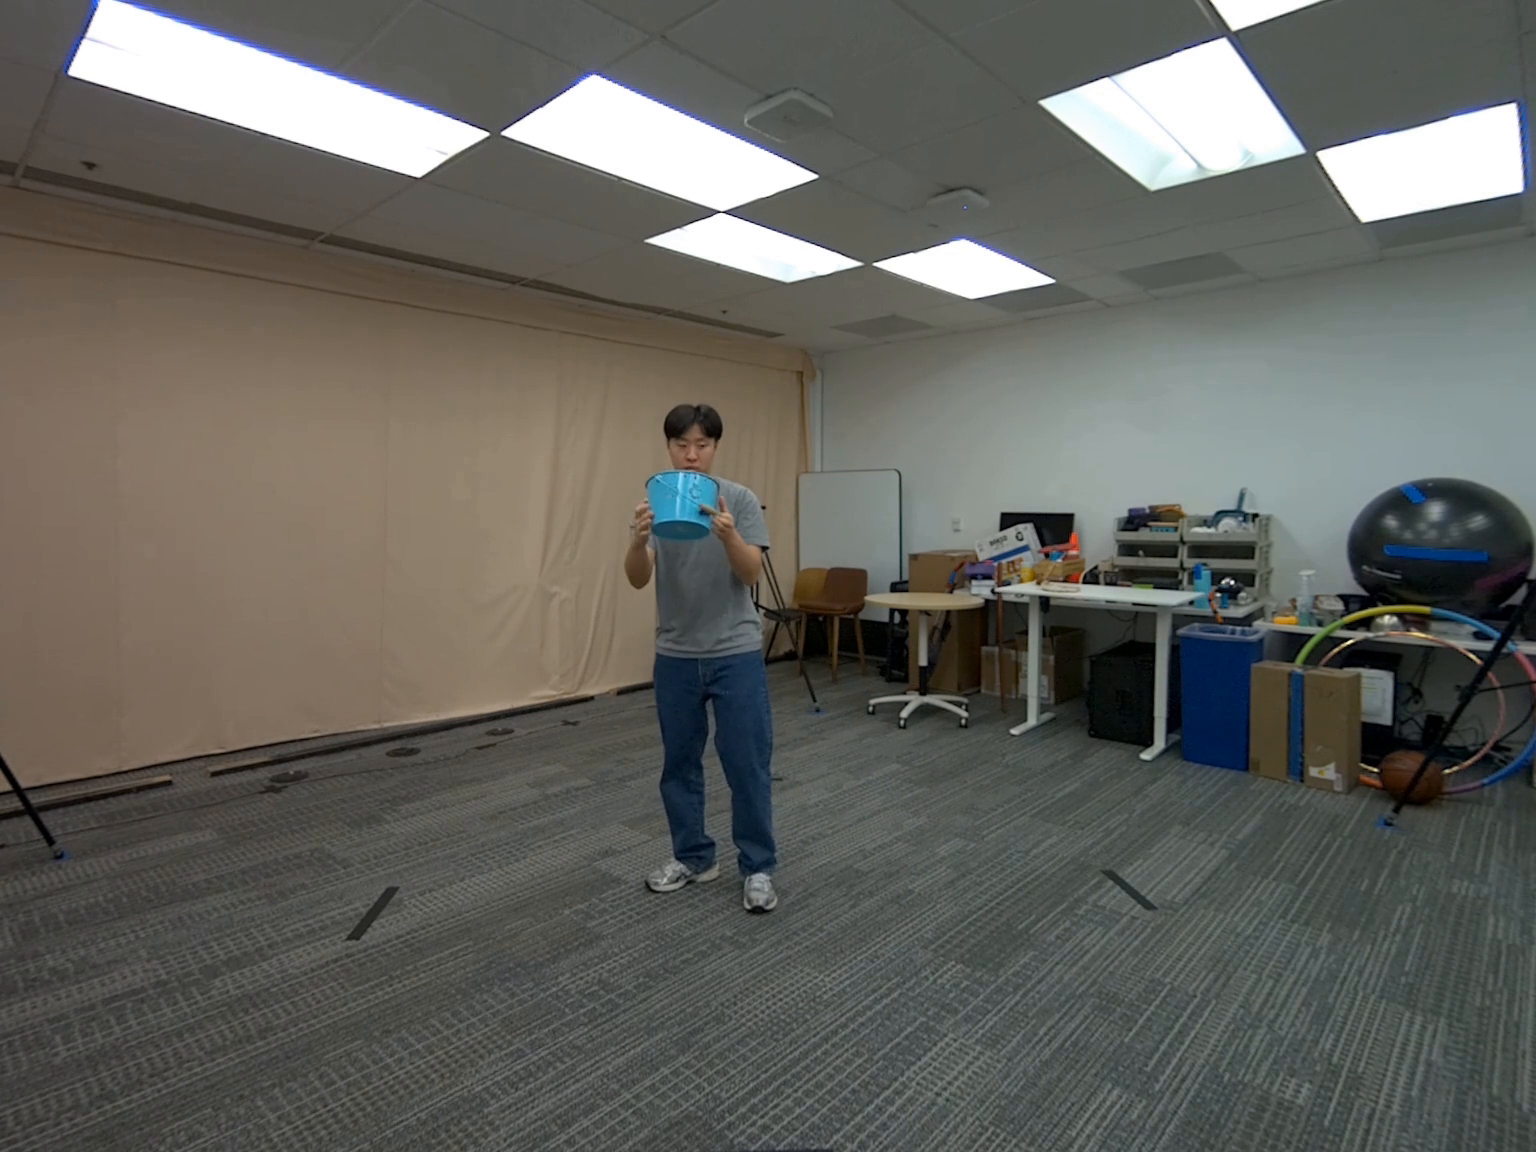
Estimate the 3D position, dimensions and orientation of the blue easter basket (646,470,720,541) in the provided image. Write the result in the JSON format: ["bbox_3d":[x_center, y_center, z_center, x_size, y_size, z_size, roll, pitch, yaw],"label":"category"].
[{"bbox_3d":[-0.262,-0.211,2.606,0.243,0.158,0.241,0,-21,-2],"label":"blue easter basket"}]
